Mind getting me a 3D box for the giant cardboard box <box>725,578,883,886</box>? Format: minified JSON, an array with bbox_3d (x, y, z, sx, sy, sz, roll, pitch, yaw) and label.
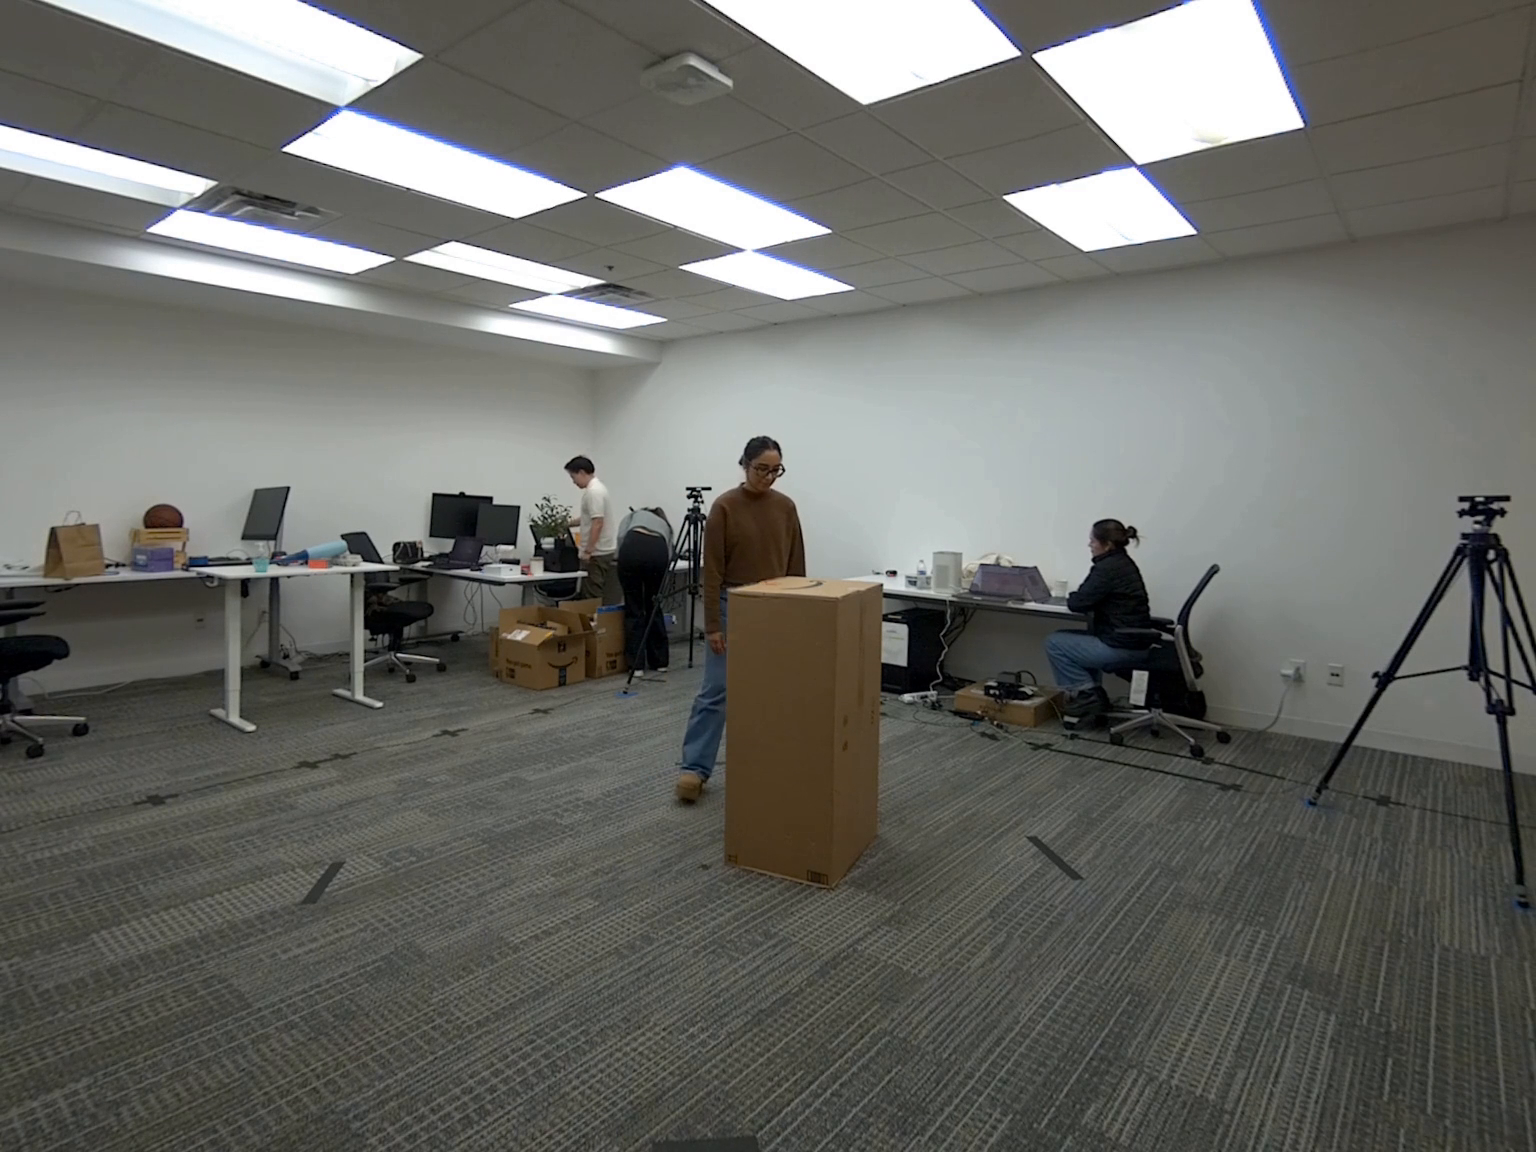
[{"bbox_3d":[0.142,0.547,3.273,0.437,1.022,0.565,2,4,25],"label":"giant cardboard box"}]
